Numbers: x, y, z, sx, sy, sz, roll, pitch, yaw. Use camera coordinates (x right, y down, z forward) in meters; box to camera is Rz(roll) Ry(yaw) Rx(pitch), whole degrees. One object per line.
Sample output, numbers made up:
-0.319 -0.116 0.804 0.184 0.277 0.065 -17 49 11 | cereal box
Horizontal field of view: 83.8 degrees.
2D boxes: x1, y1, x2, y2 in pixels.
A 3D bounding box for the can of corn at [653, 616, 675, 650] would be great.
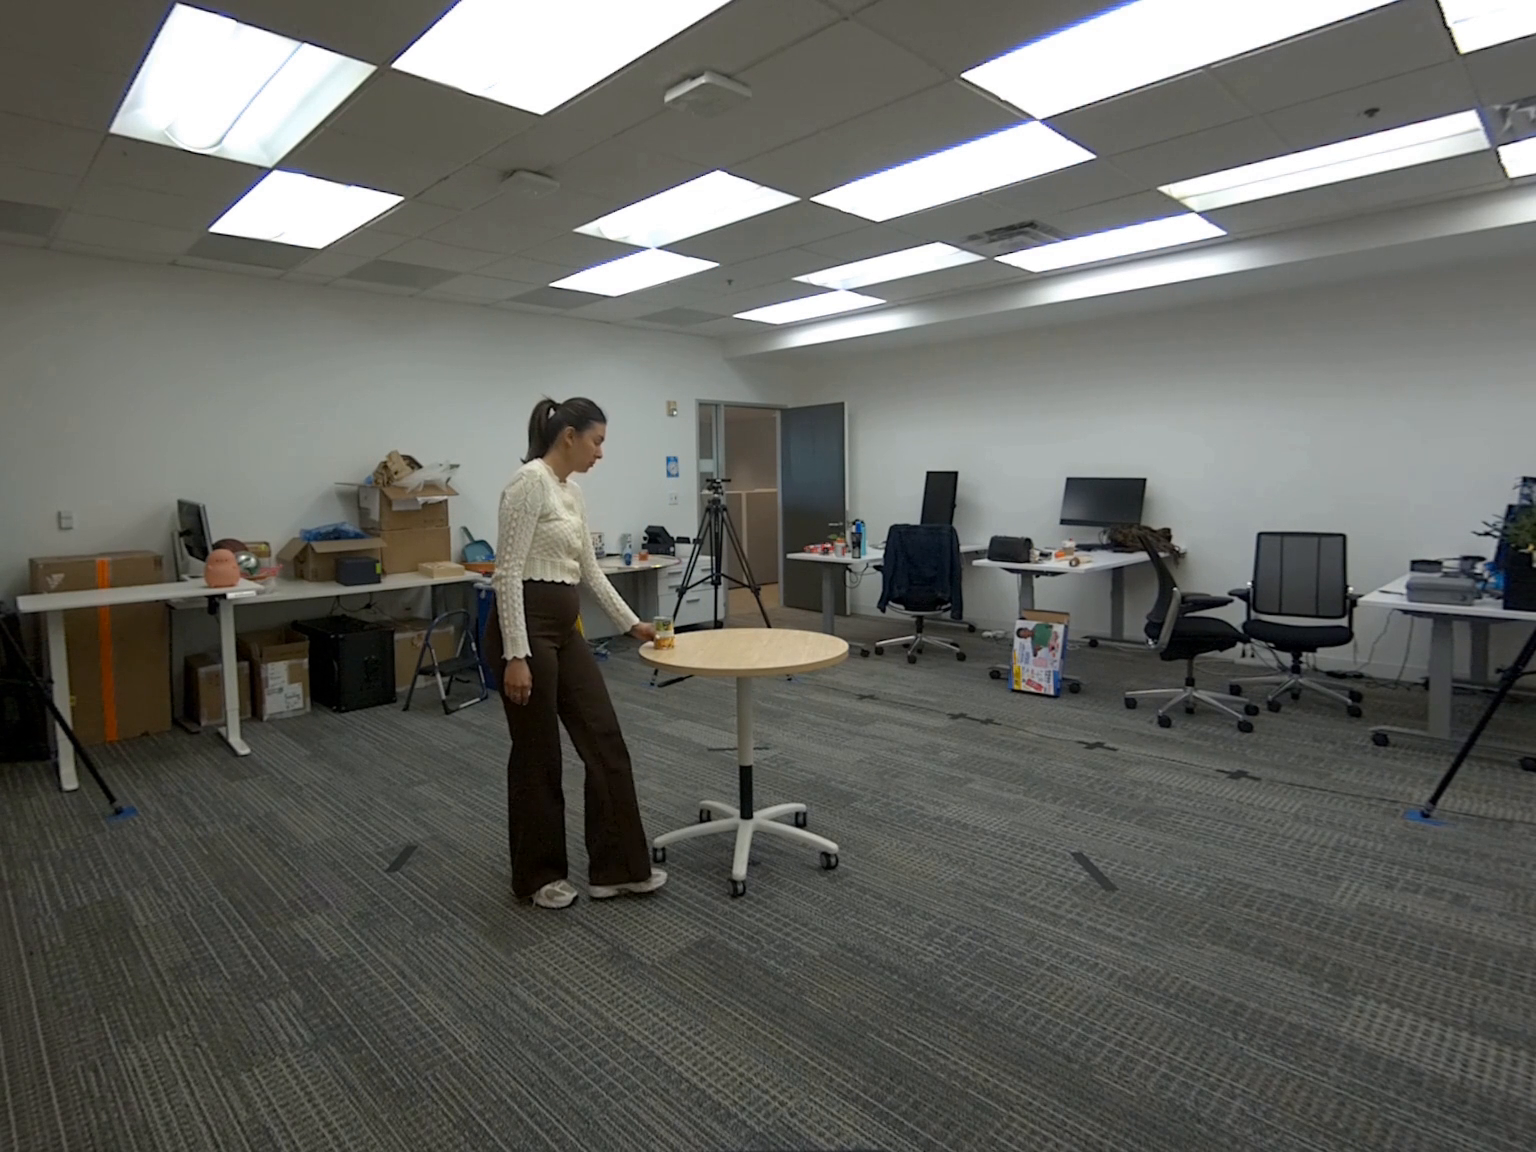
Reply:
-0.383 0.211 3.132 0.074 0.111 0.074 -5 3 -1 | can of corn
